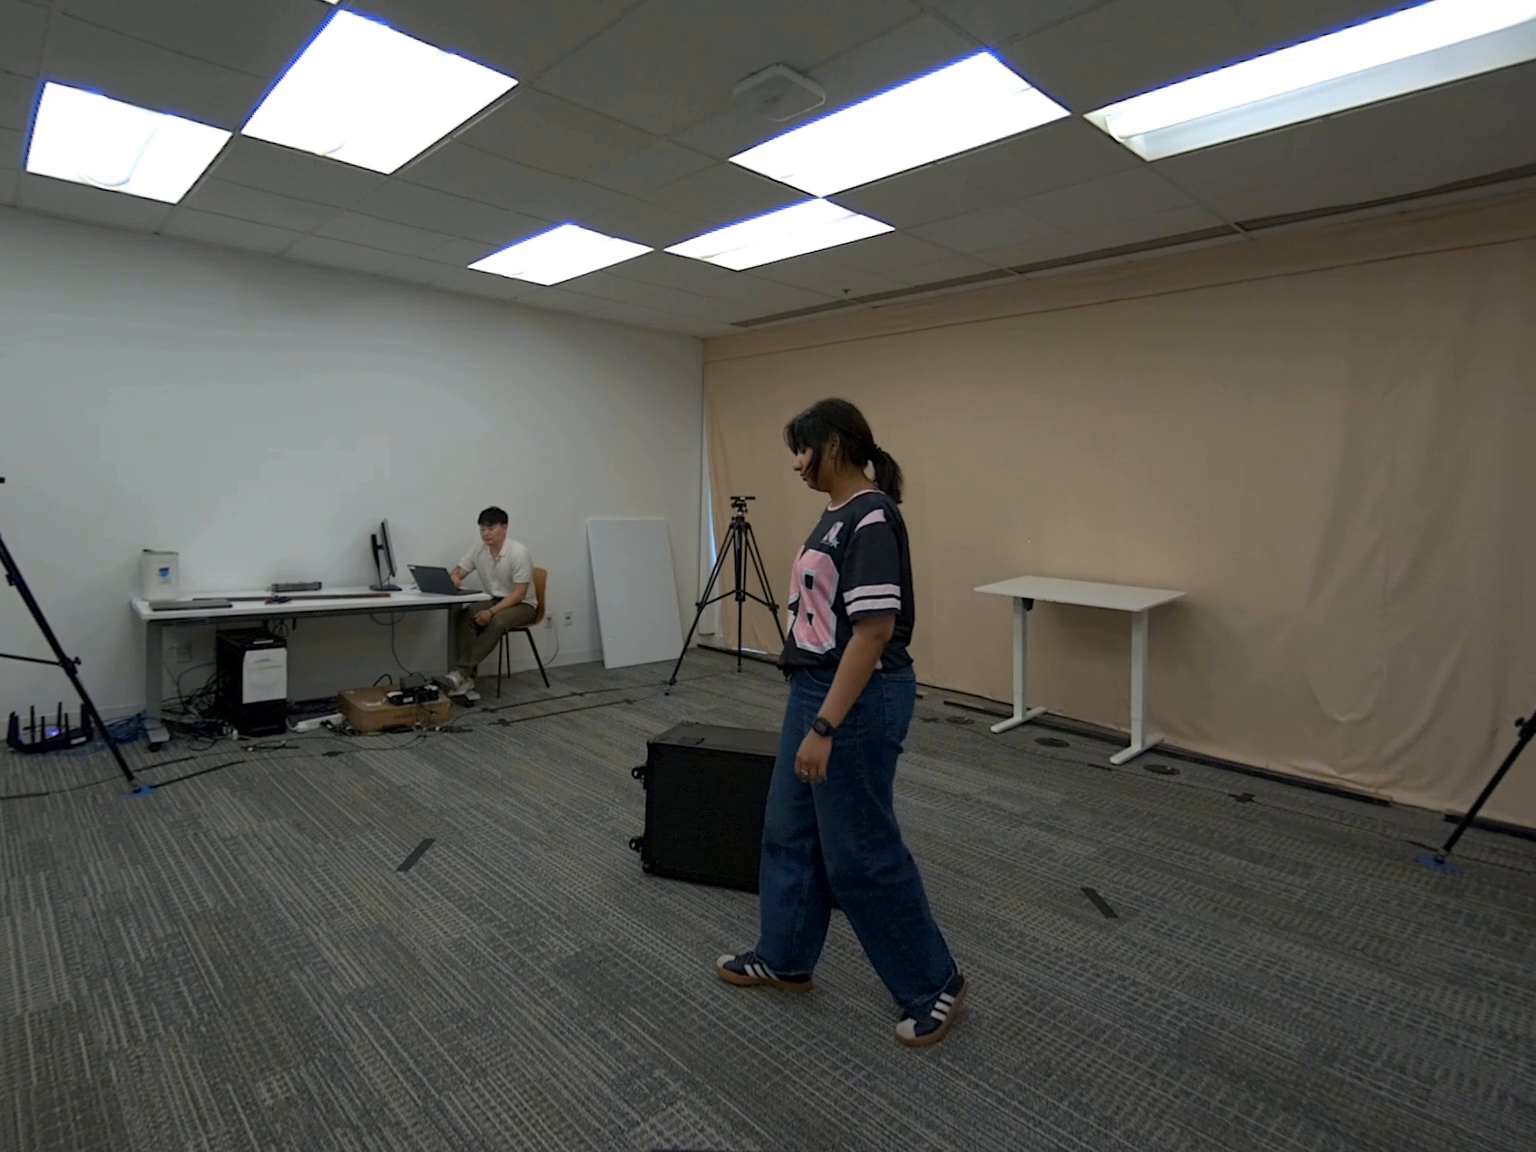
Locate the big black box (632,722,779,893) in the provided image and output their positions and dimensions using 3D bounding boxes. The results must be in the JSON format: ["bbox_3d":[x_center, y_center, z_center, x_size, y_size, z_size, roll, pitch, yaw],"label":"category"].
[{"bbox_3d":[-0.064,0.848,3.135,0.881,0.522,0.380,3,3,17],"label":"big black box"}]
